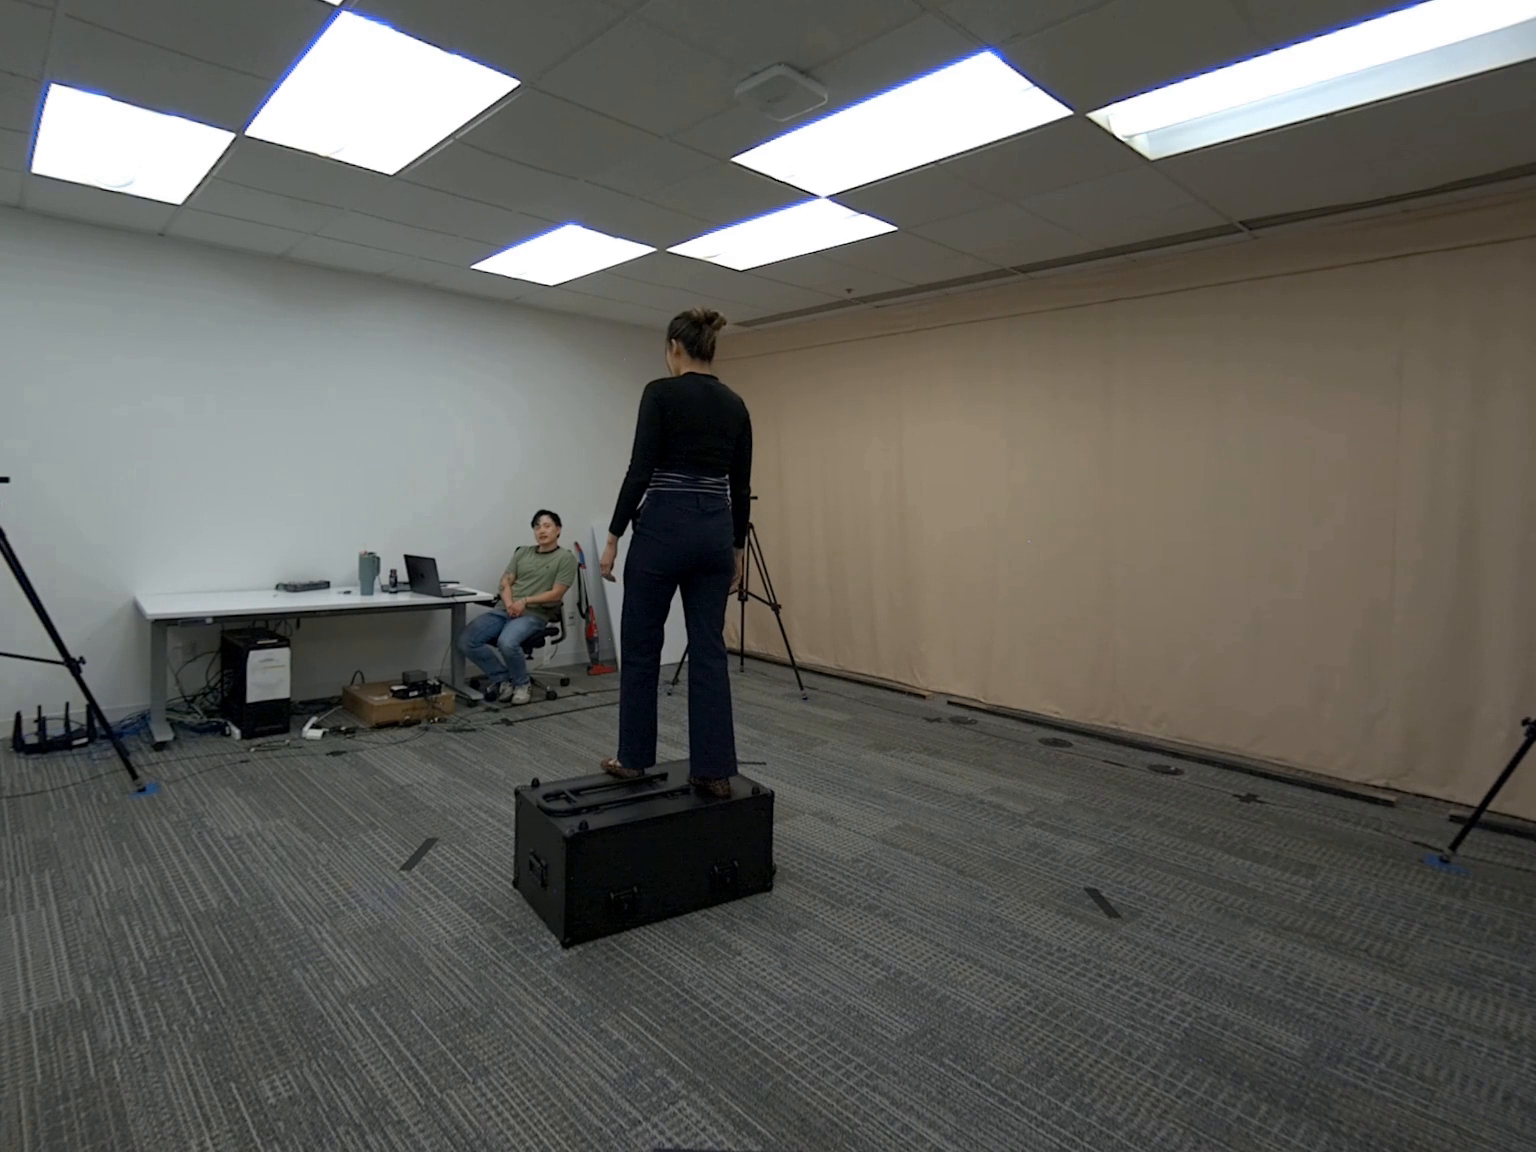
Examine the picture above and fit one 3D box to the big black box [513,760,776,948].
[{"bbox_3d":[-0.465,0.938,2.948,0.843,0.395,0.534,-2,5,-34],"label":"big black box"}]
